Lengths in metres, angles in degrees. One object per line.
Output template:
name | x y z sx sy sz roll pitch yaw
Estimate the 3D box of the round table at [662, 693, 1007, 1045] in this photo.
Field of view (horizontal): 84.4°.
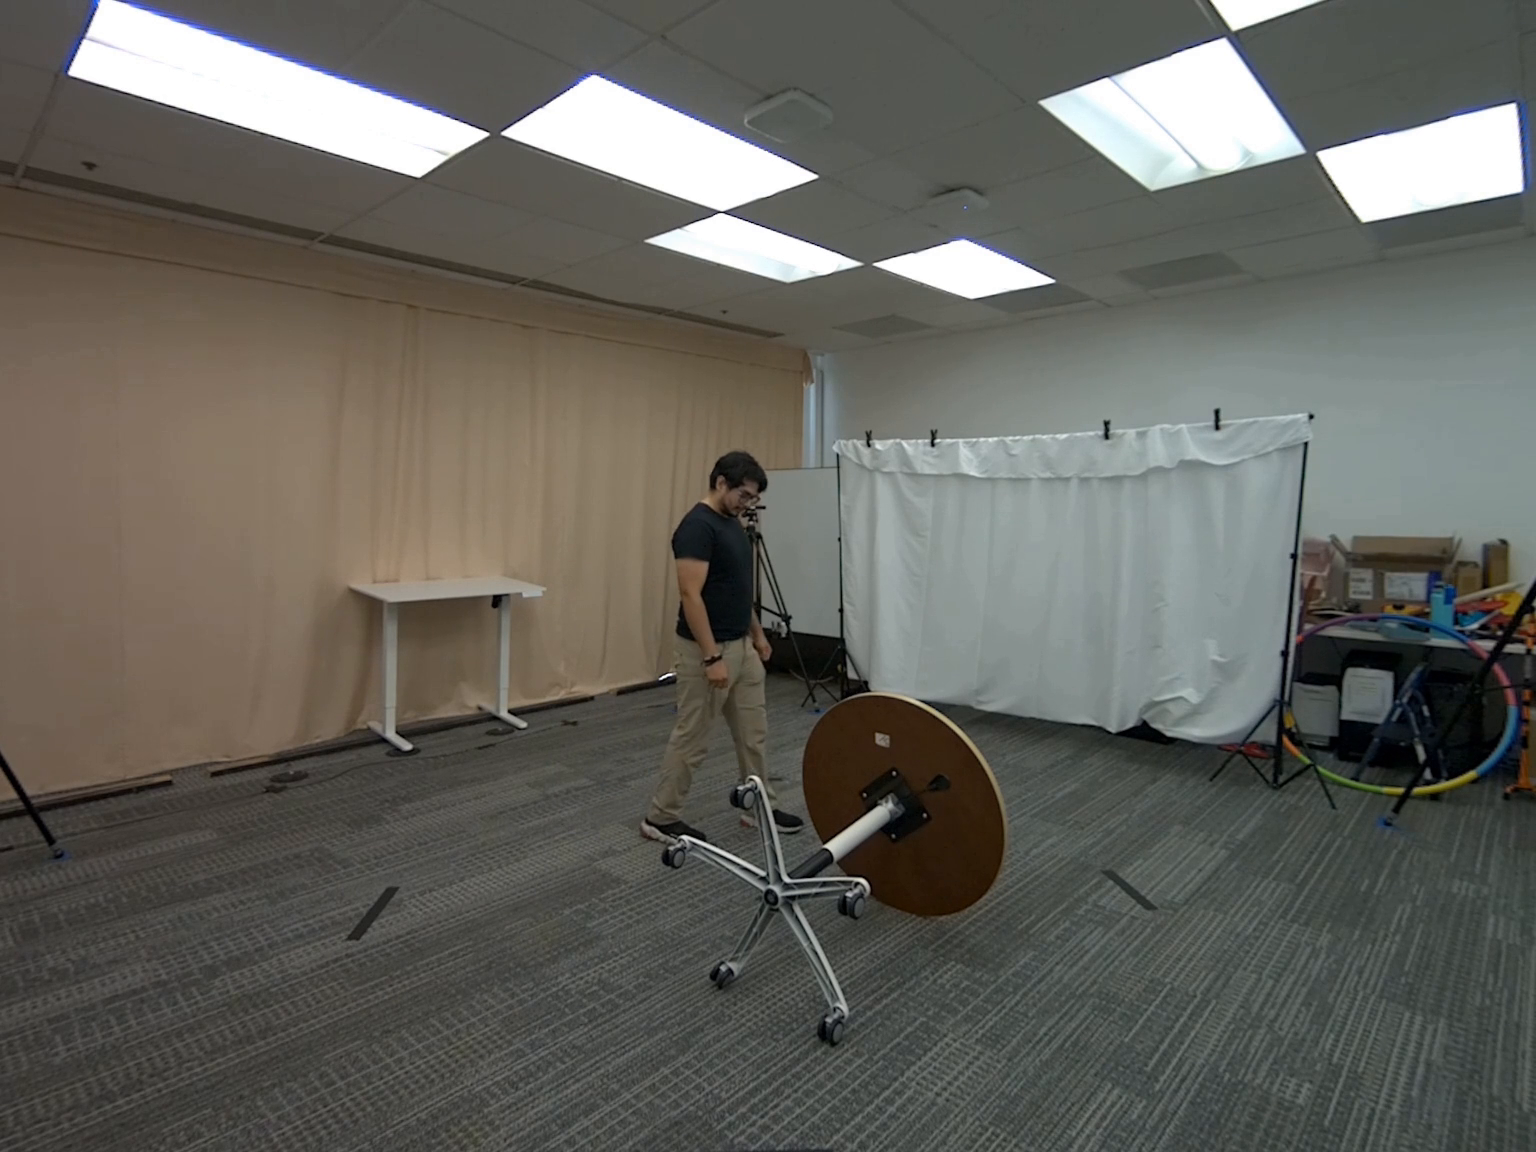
round table | 0.206 0.846 2.572 0.811 0.780 0.766 3 12 40
